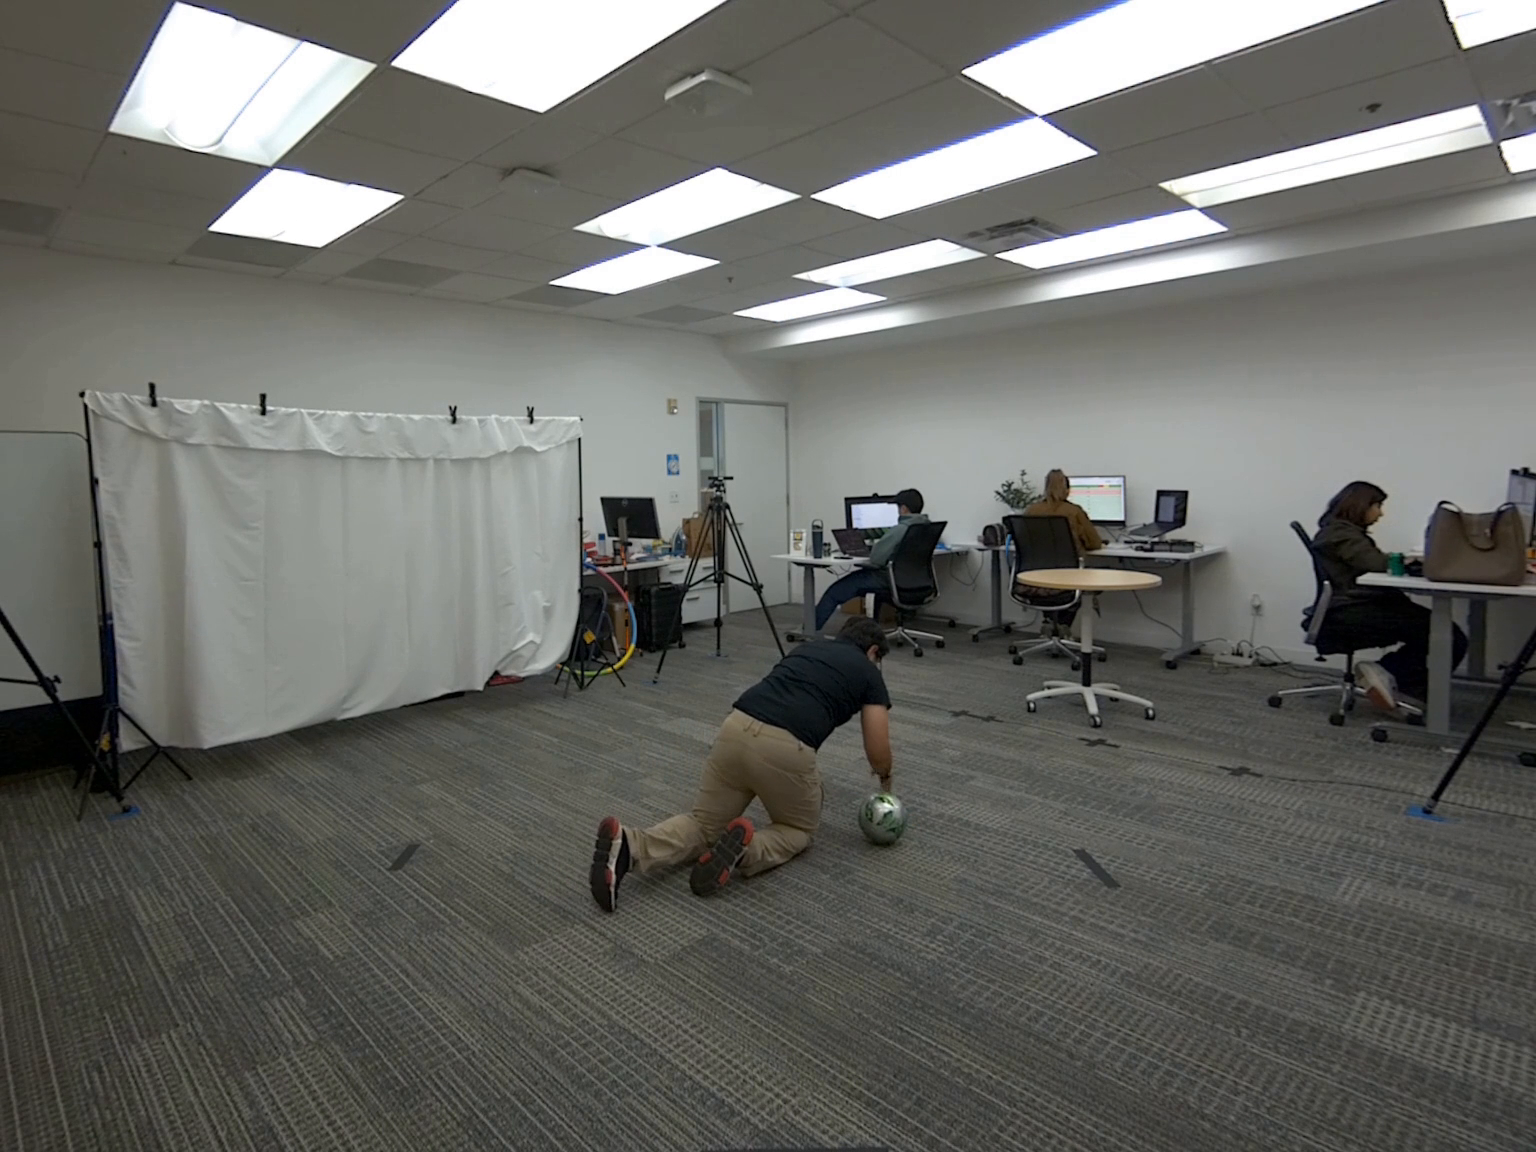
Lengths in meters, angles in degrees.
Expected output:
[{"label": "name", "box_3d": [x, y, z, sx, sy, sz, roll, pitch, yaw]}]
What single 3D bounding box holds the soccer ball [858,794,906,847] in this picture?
[{"label": "soccer ball", "box_3d": [0.432, 0.915, 3.234, 0.187, 0.187, 0.188, -1, 5, -2]}]
